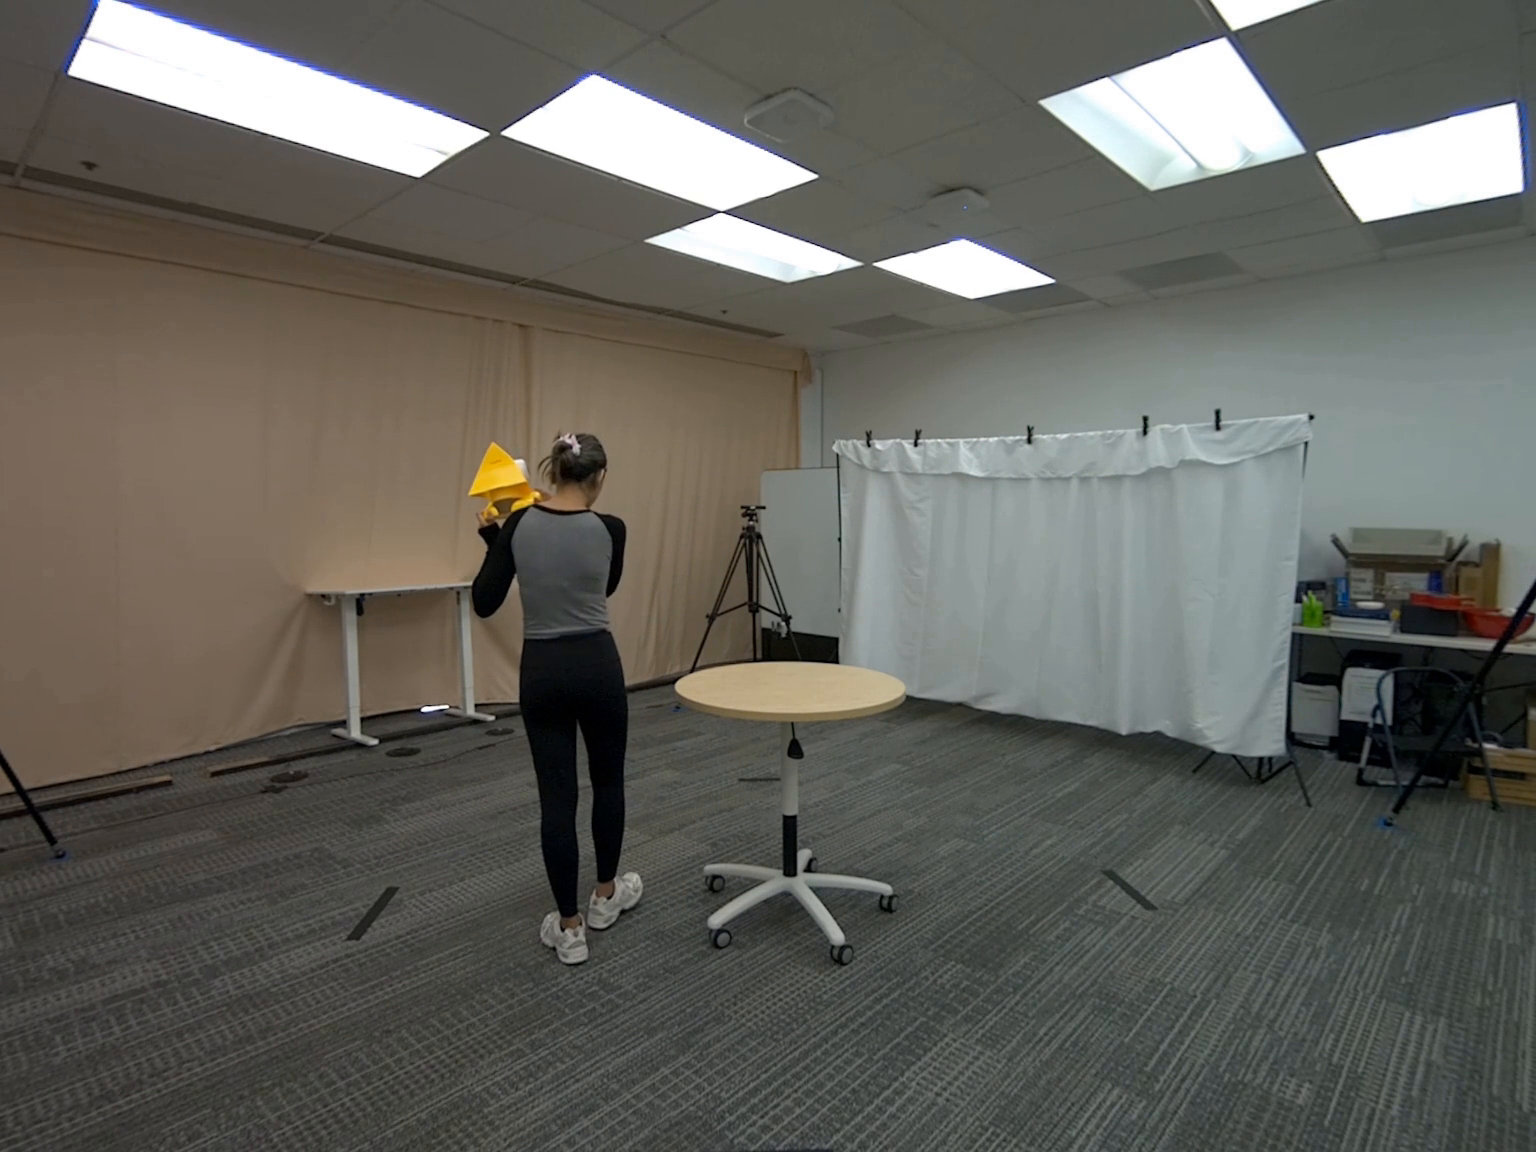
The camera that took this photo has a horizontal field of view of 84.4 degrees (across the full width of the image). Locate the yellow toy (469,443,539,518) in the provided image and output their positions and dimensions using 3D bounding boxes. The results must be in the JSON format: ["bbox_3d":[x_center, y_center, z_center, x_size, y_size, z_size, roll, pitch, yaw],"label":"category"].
[{"bbox_3d":[-0.833,-0.313,2.709,0.207,0.231,0.190,-11,-2,12],"label":"yellow toy"}]
